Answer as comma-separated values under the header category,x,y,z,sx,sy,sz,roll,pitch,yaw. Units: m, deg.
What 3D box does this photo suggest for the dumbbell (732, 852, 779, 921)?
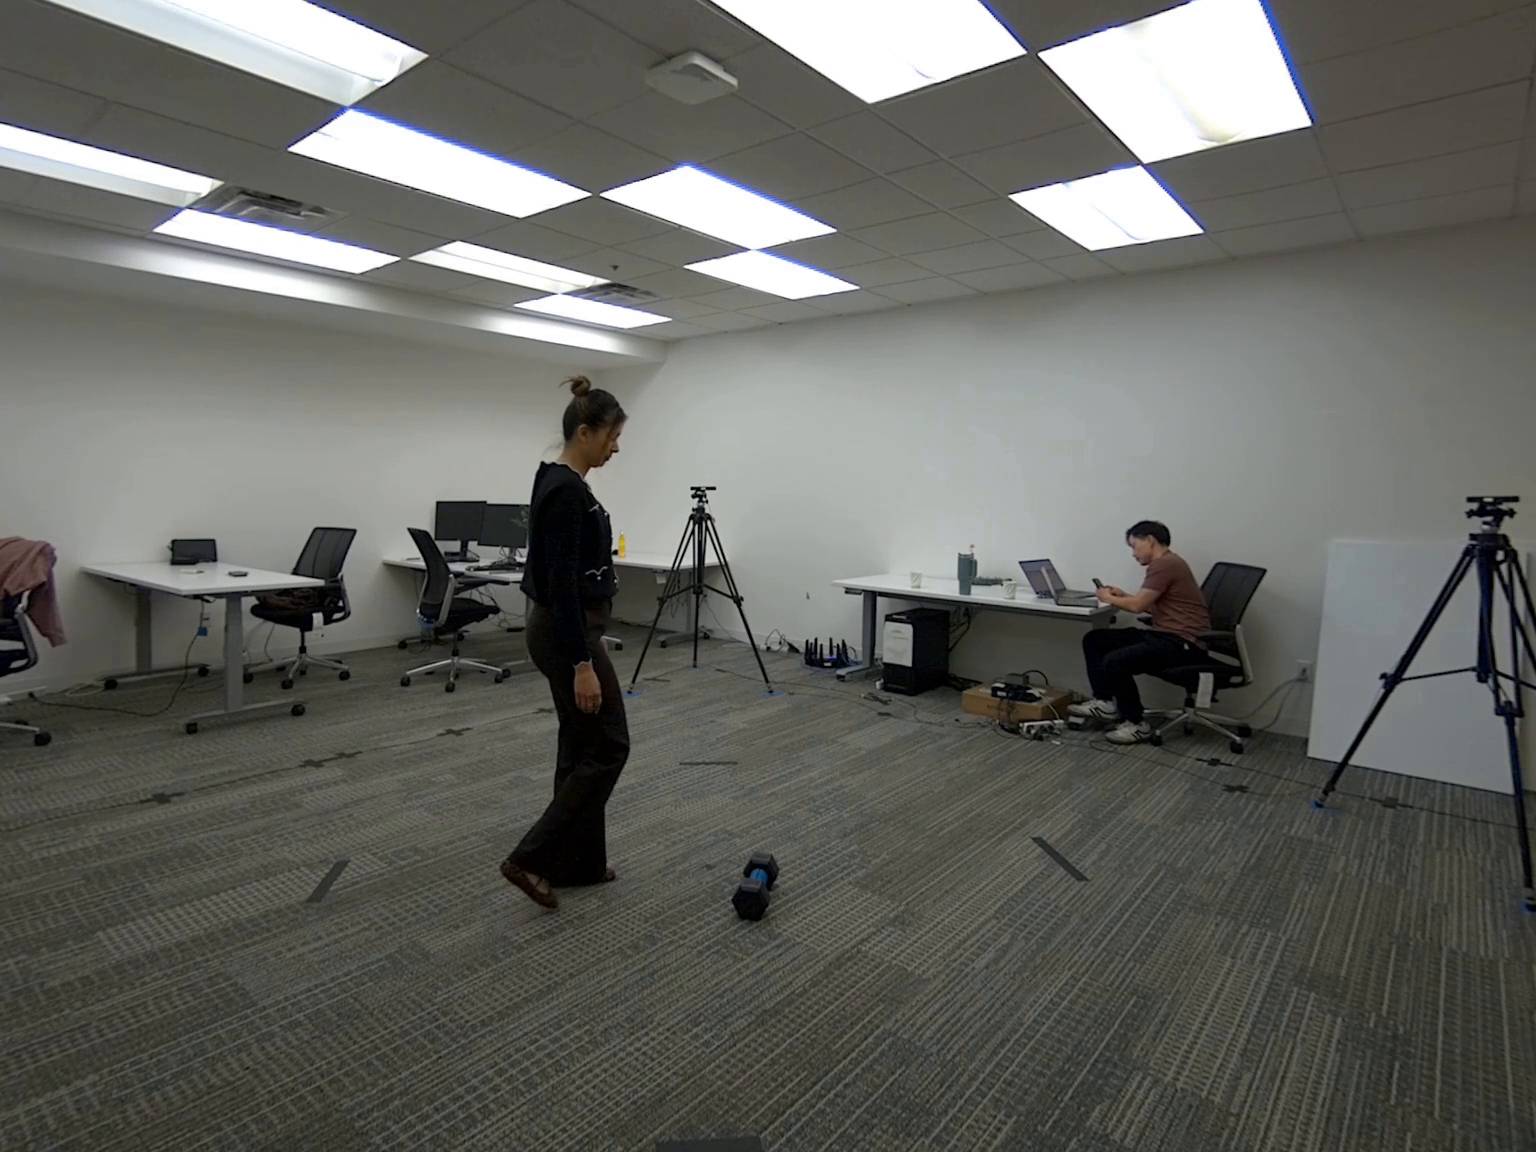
category,x,y,z,sx,sy,sz,roll,pitch,yaw
dumbbell,-0.046,1.040,2.863,0.109,0.123,0.291,-28,0,10
